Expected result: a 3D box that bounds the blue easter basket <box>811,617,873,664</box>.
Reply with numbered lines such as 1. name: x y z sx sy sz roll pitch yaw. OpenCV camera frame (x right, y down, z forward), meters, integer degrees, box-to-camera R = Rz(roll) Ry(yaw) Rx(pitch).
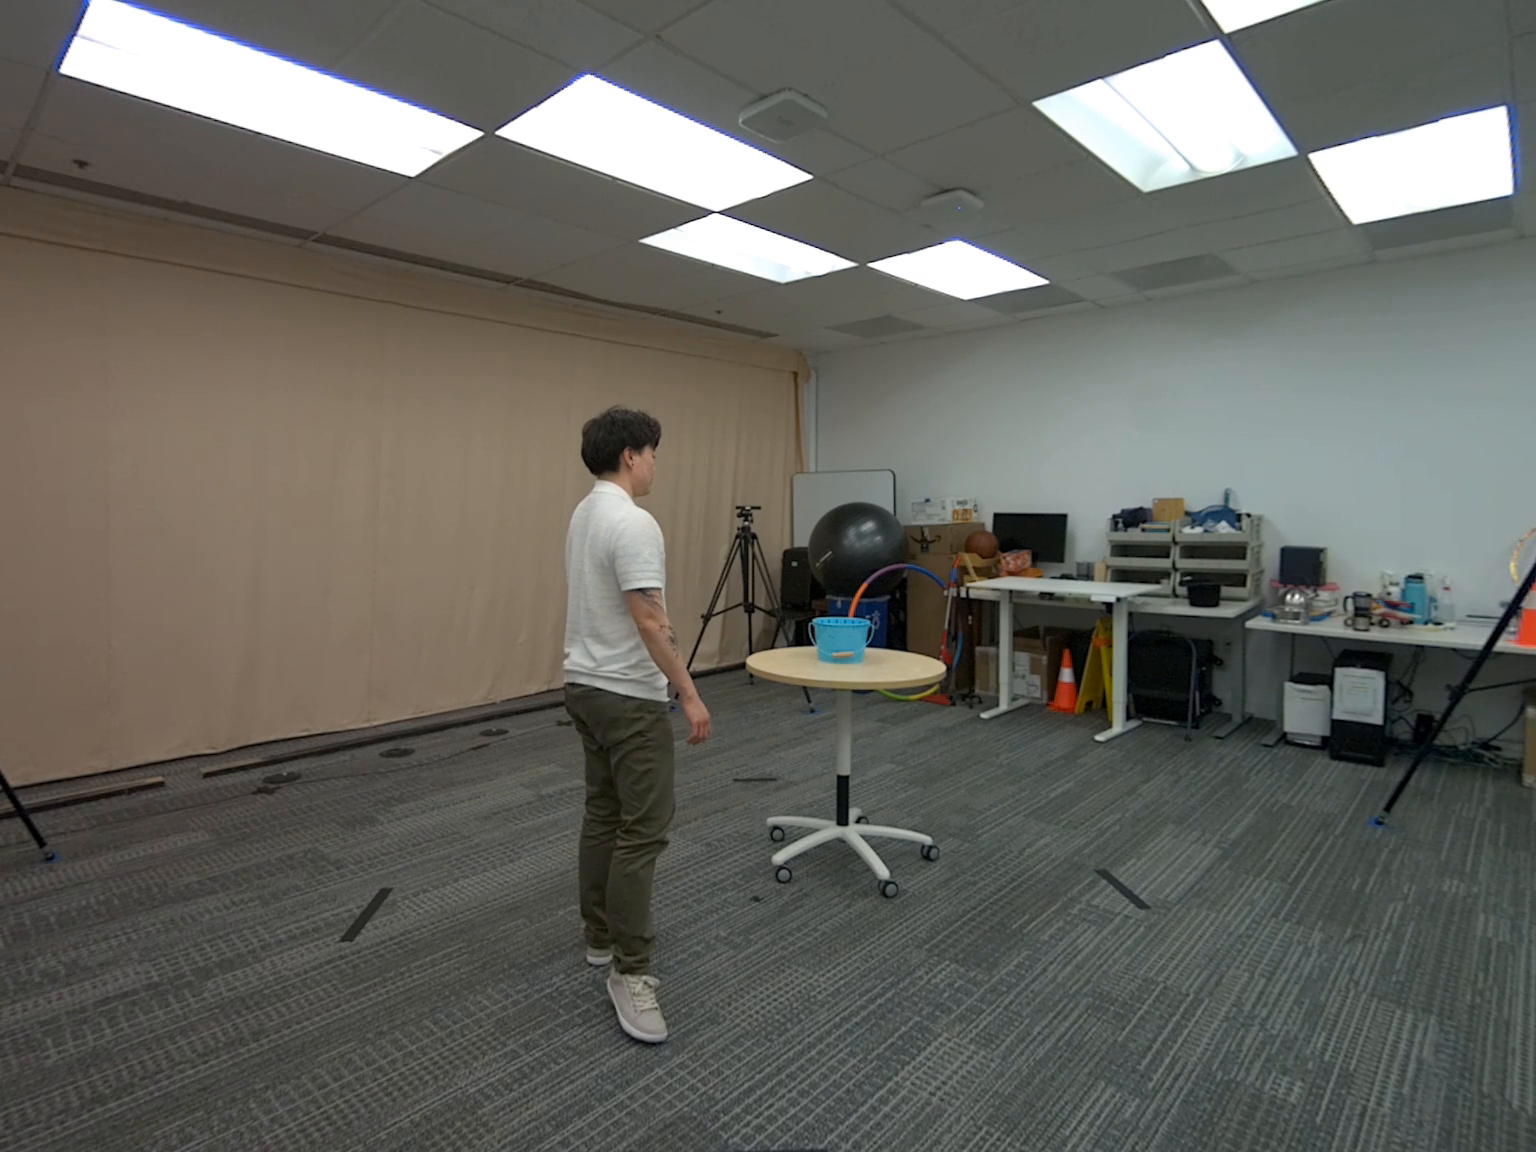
1. blue easter basket: 0.293 0.257 3.343 0.243 0.155 0.244 1 3 -2
